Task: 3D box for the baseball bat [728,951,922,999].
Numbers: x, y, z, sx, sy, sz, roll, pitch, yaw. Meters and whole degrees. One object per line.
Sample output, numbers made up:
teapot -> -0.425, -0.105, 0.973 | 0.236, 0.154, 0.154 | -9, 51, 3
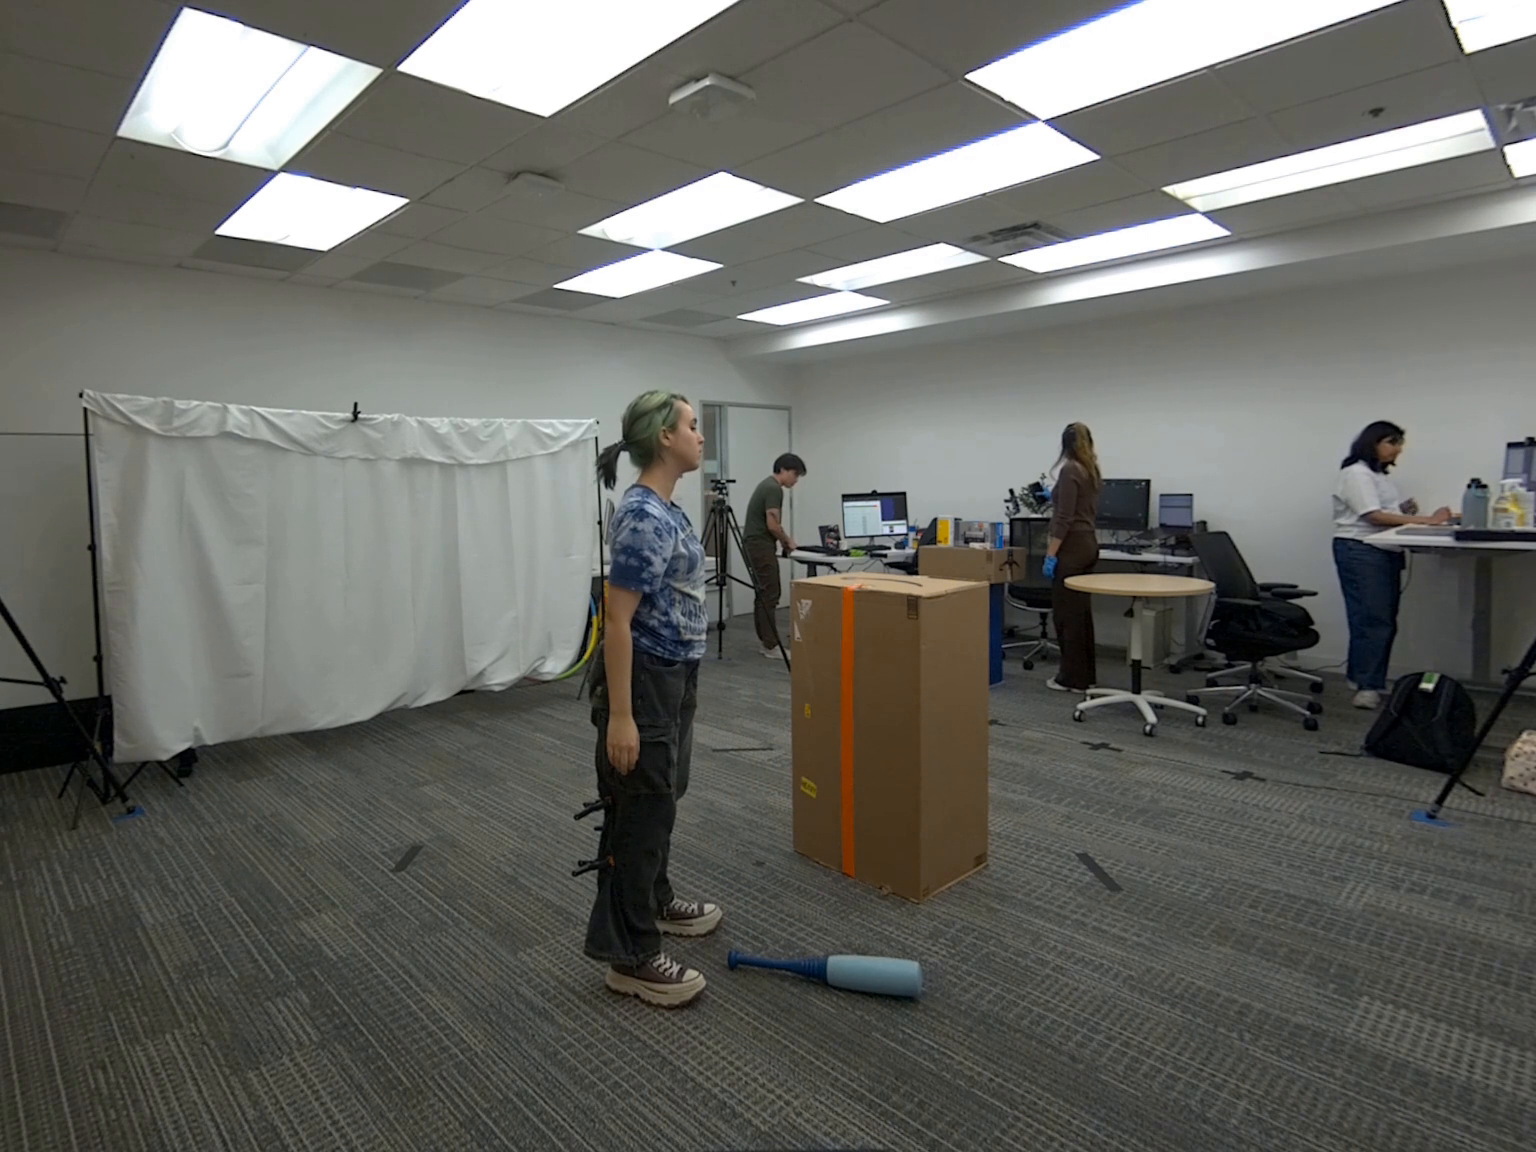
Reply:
baseball bat -> 0.160, 1.098, 2.369 | 0.552, 0.089, 0.088 | -3, 4, 18
